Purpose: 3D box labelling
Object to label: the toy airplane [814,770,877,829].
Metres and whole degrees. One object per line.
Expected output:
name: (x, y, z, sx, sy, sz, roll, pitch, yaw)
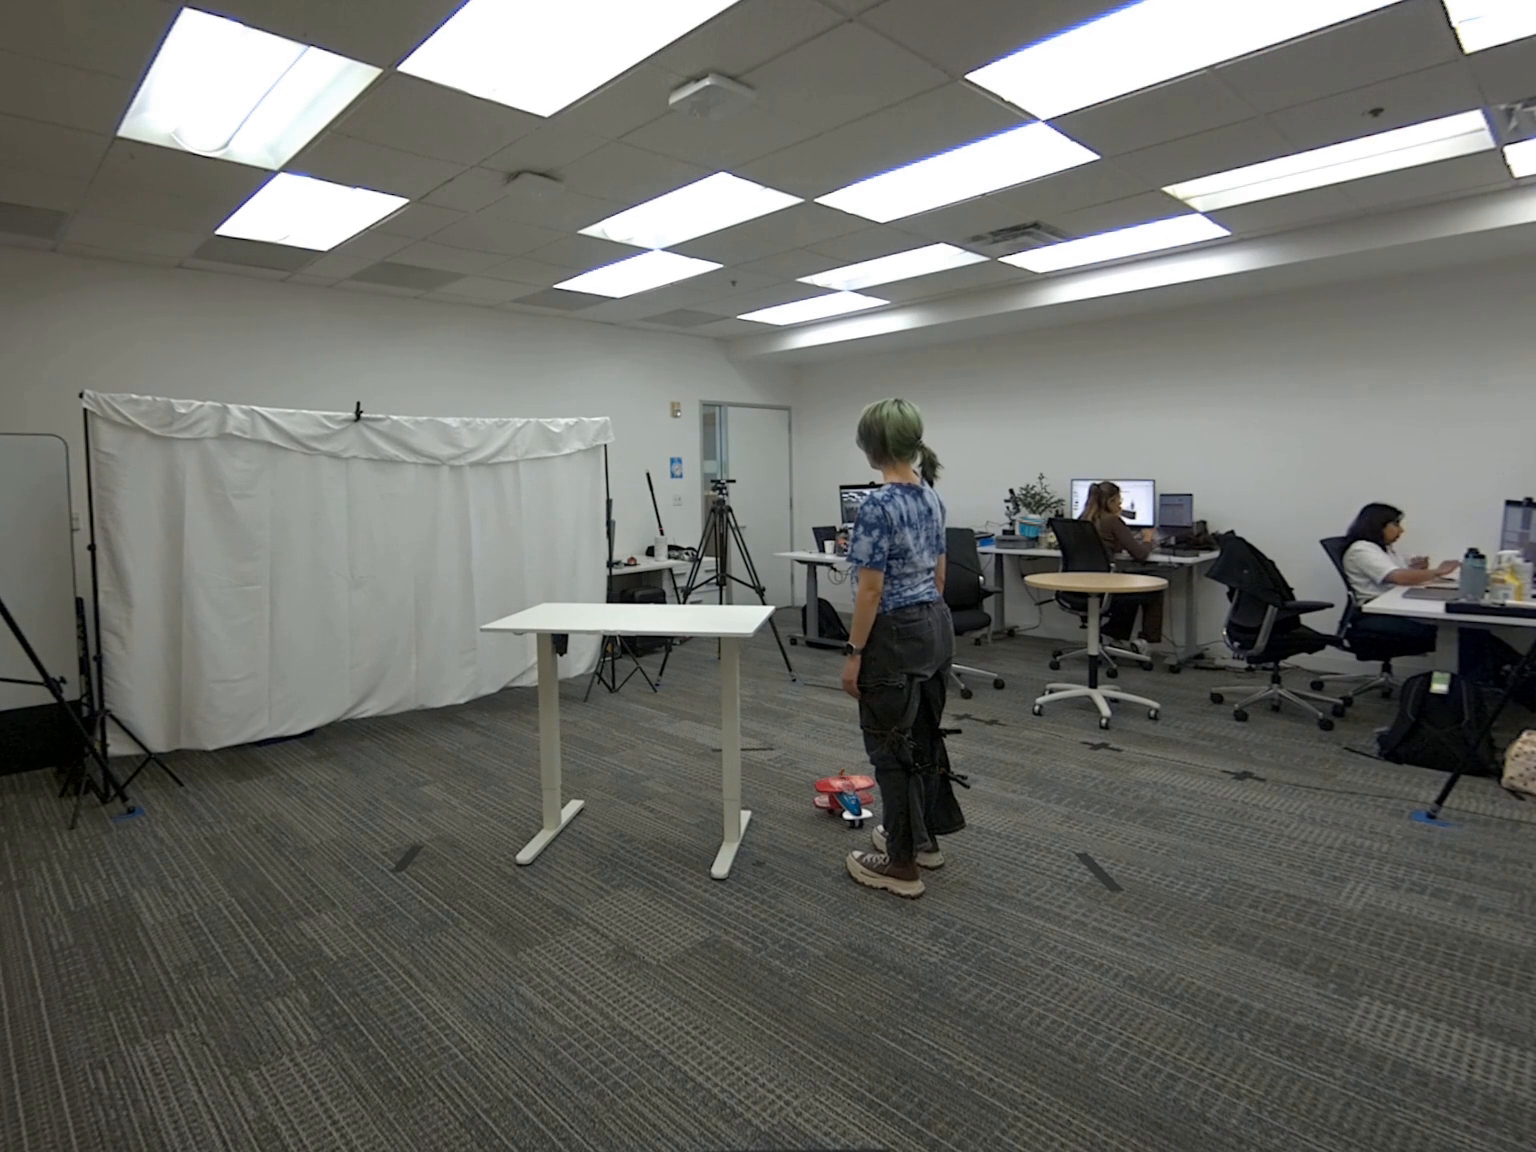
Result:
toy airplane: (0.345, 0.925, 3.507, 0.244, 0.156, 0.267, -6, 8, -42)
